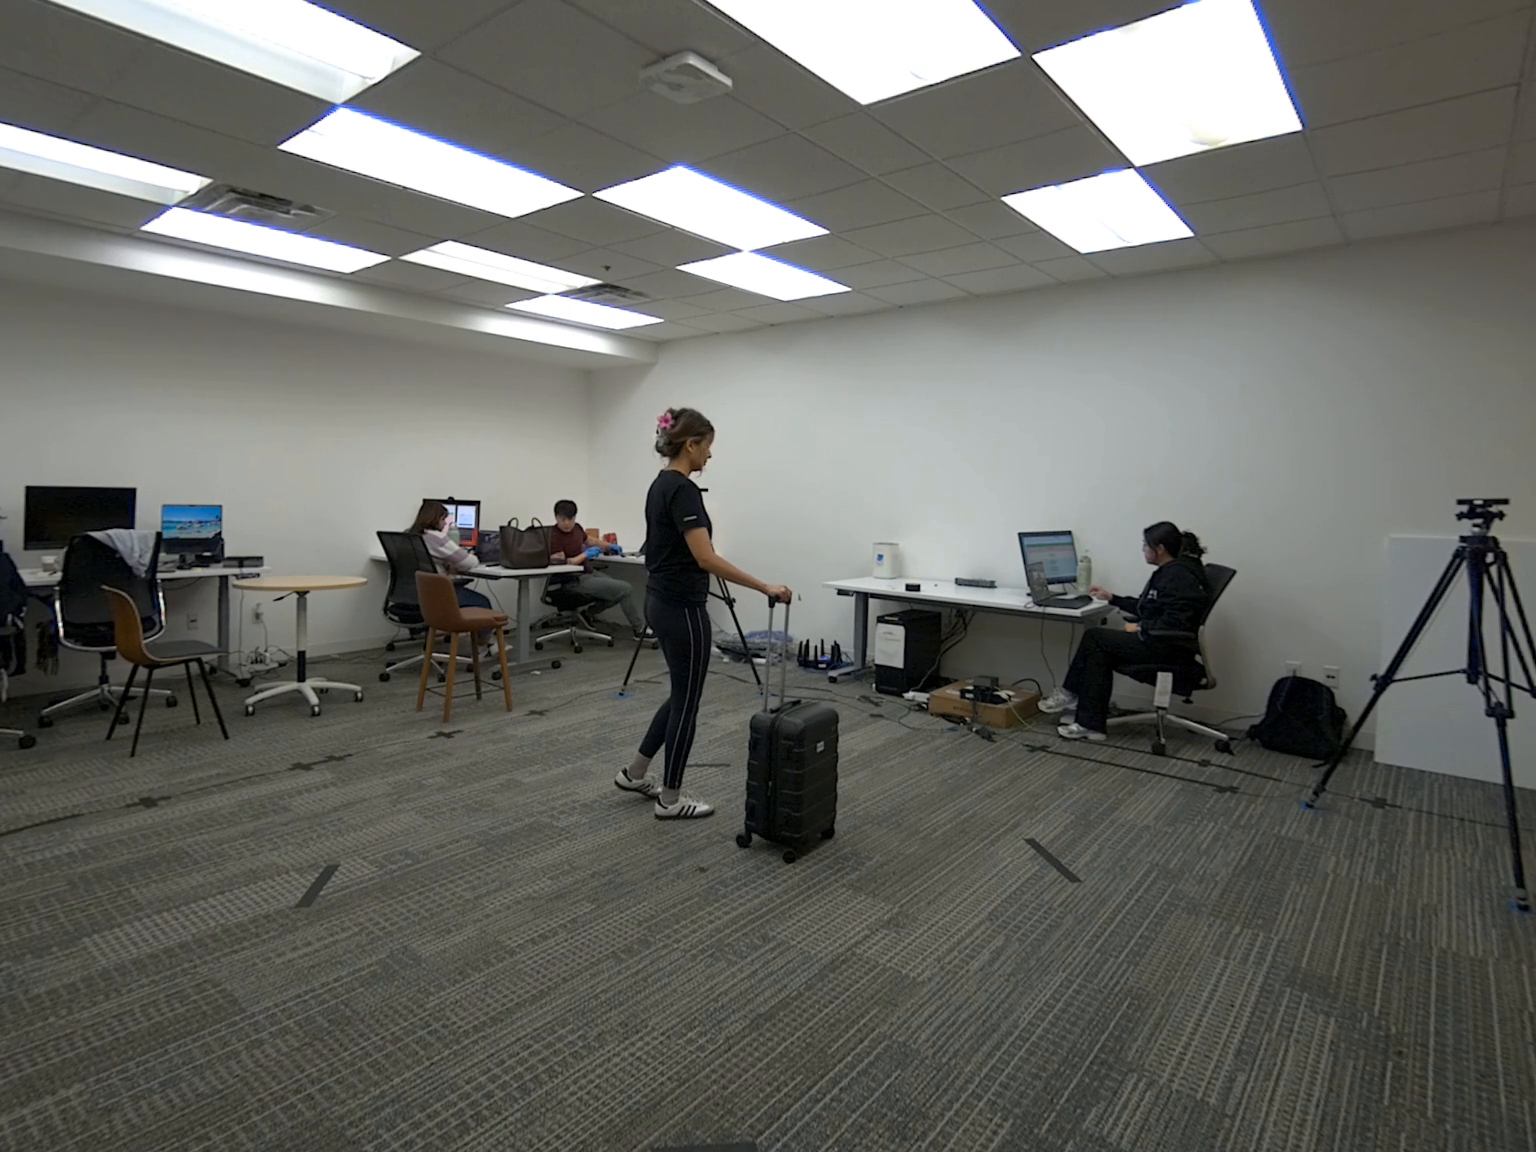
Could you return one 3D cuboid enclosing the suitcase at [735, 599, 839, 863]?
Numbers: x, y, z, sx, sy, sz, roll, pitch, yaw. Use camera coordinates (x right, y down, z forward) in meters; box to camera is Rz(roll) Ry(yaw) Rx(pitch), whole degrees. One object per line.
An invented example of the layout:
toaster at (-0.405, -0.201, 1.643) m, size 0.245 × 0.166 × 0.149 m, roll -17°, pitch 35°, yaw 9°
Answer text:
suitcase at (0.104, 0.573, 3.347) m, size 0.265 × 0.975 × 0.373 m, roll 7°, pitch 4°, yaw 32°
